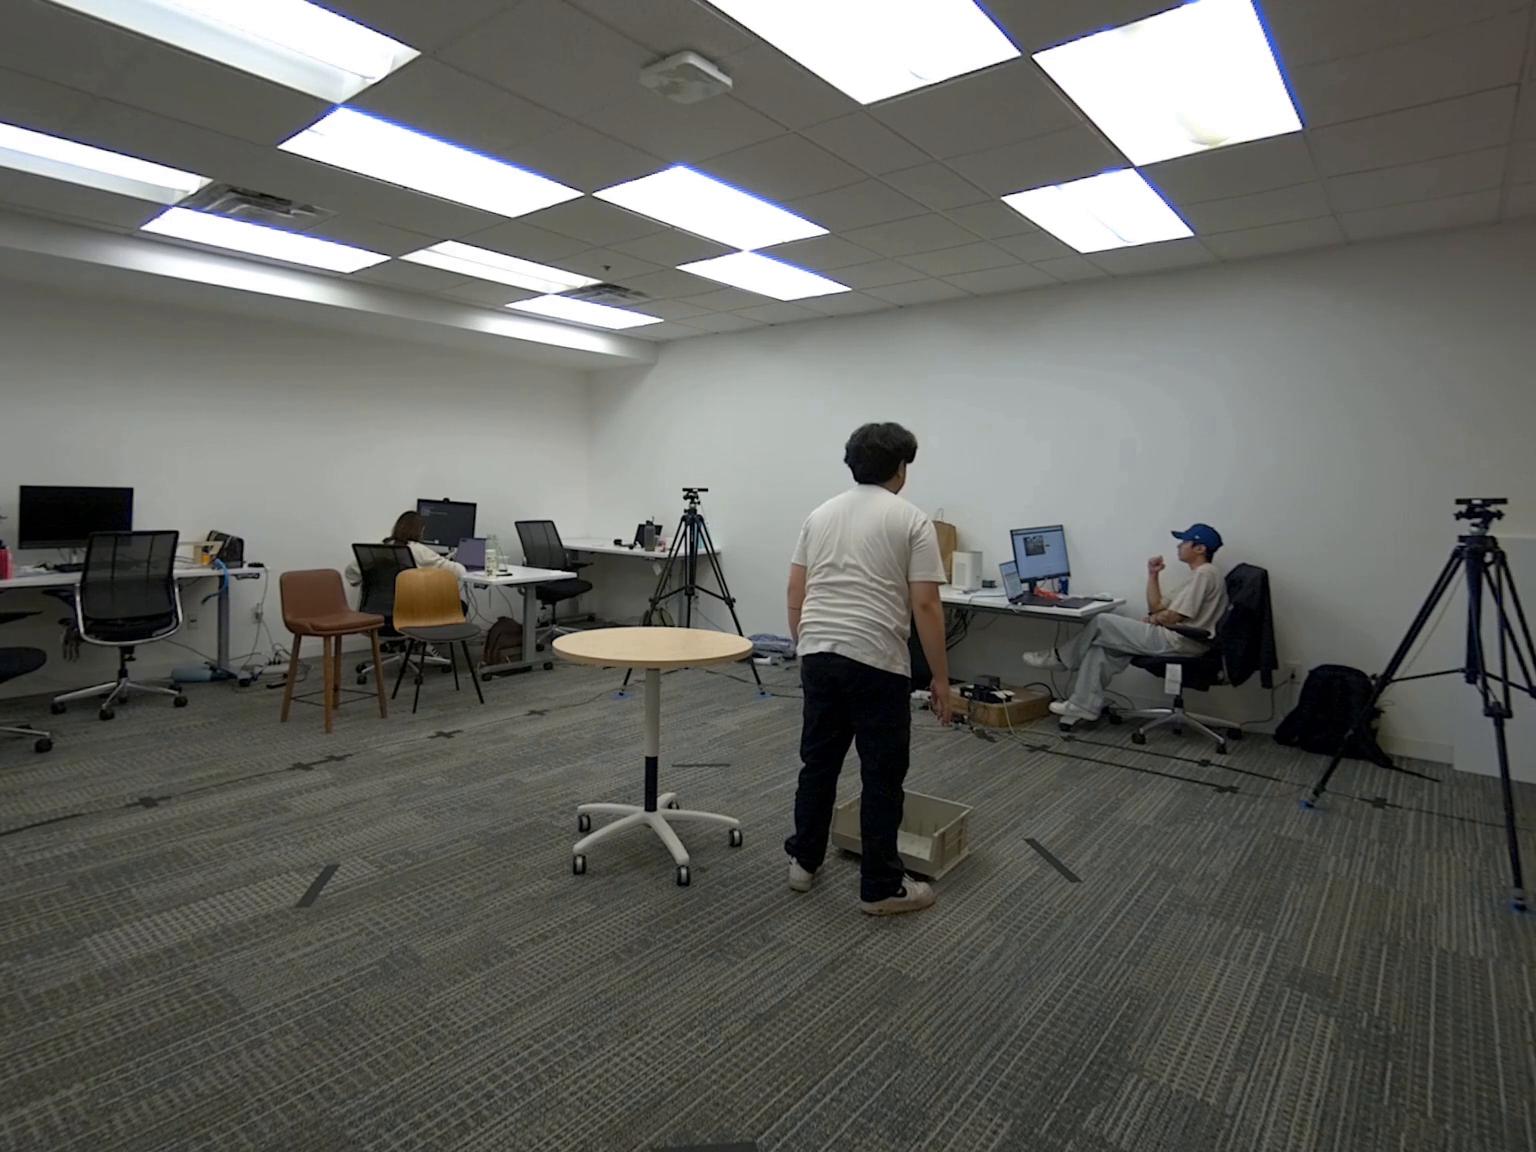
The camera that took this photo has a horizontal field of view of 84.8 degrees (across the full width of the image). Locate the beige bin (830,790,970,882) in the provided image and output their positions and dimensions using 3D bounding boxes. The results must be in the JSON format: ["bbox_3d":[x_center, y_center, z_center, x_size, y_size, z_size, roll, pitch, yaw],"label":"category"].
[{"bbox_3d":[0.517,0.982,3.289,0.436,0.188,0.366,4,5,35],"label":"beige bin"}]
